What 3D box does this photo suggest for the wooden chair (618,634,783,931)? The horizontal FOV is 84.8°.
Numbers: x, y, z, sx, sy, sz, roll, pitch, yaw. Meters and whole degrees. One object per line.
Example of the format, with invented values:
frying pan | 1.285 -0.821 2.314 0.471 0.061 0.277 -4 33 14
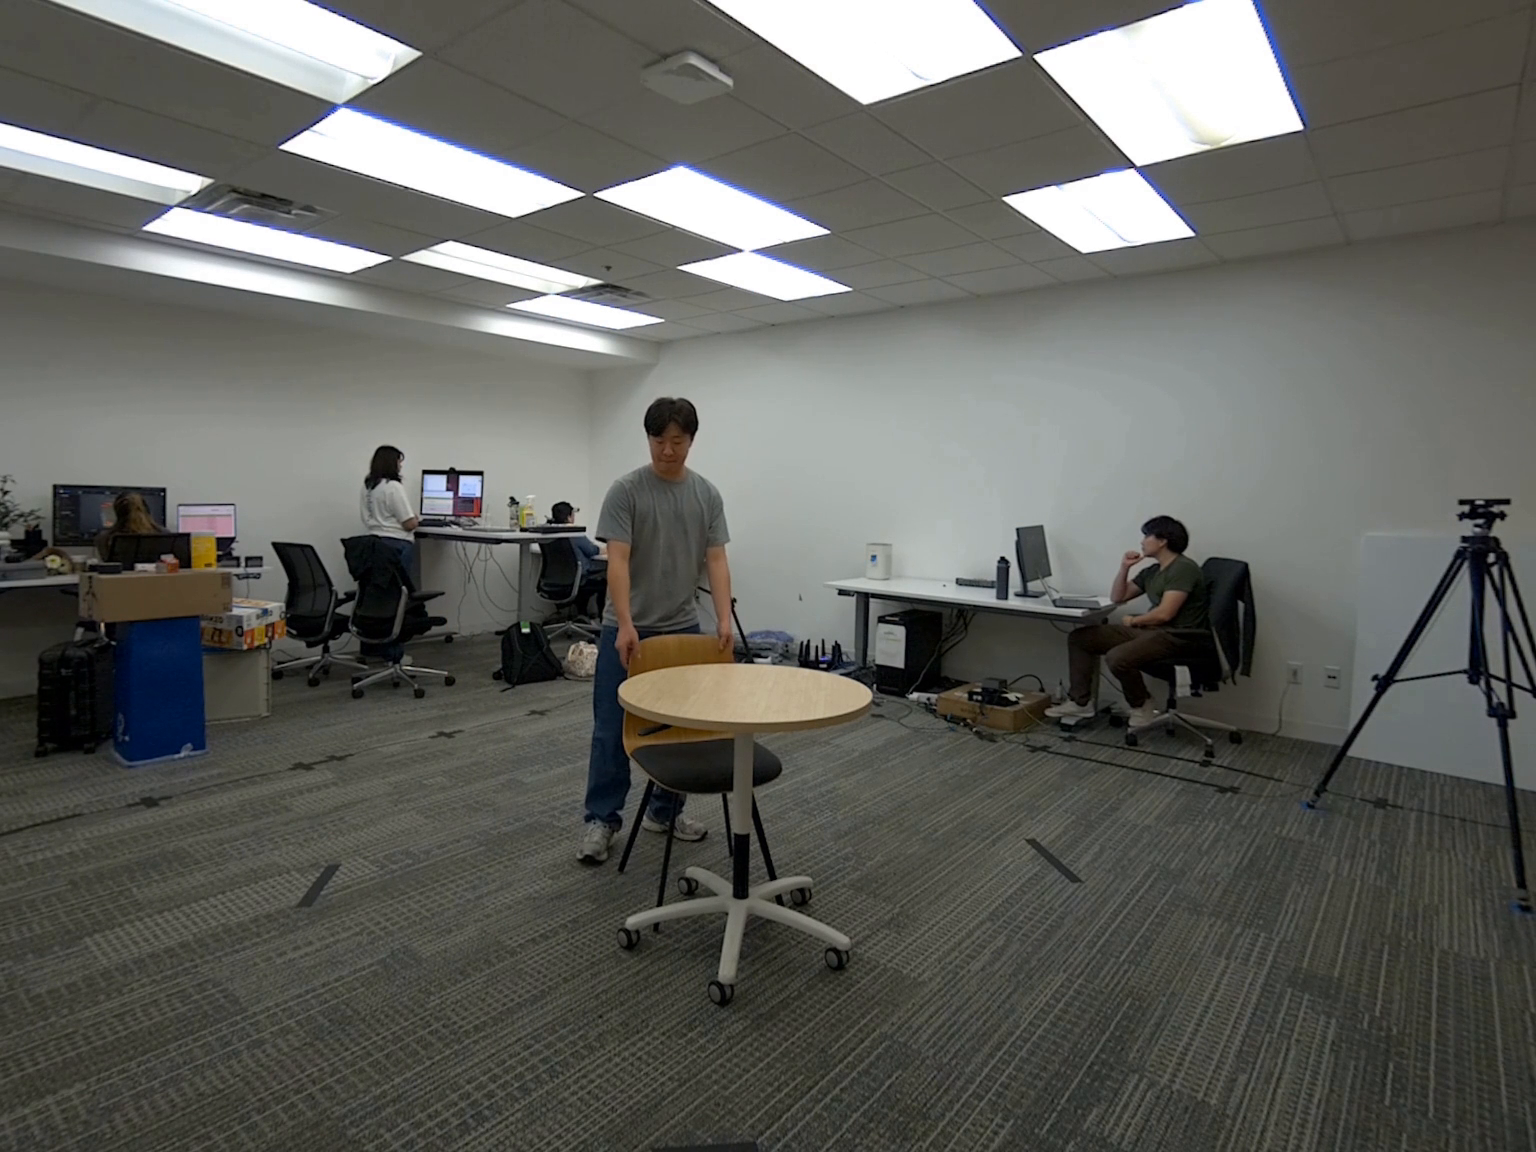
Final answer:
wooden chair | -0.245 0.657 2.916 0.467 0.878 0.535 0 0 -24
